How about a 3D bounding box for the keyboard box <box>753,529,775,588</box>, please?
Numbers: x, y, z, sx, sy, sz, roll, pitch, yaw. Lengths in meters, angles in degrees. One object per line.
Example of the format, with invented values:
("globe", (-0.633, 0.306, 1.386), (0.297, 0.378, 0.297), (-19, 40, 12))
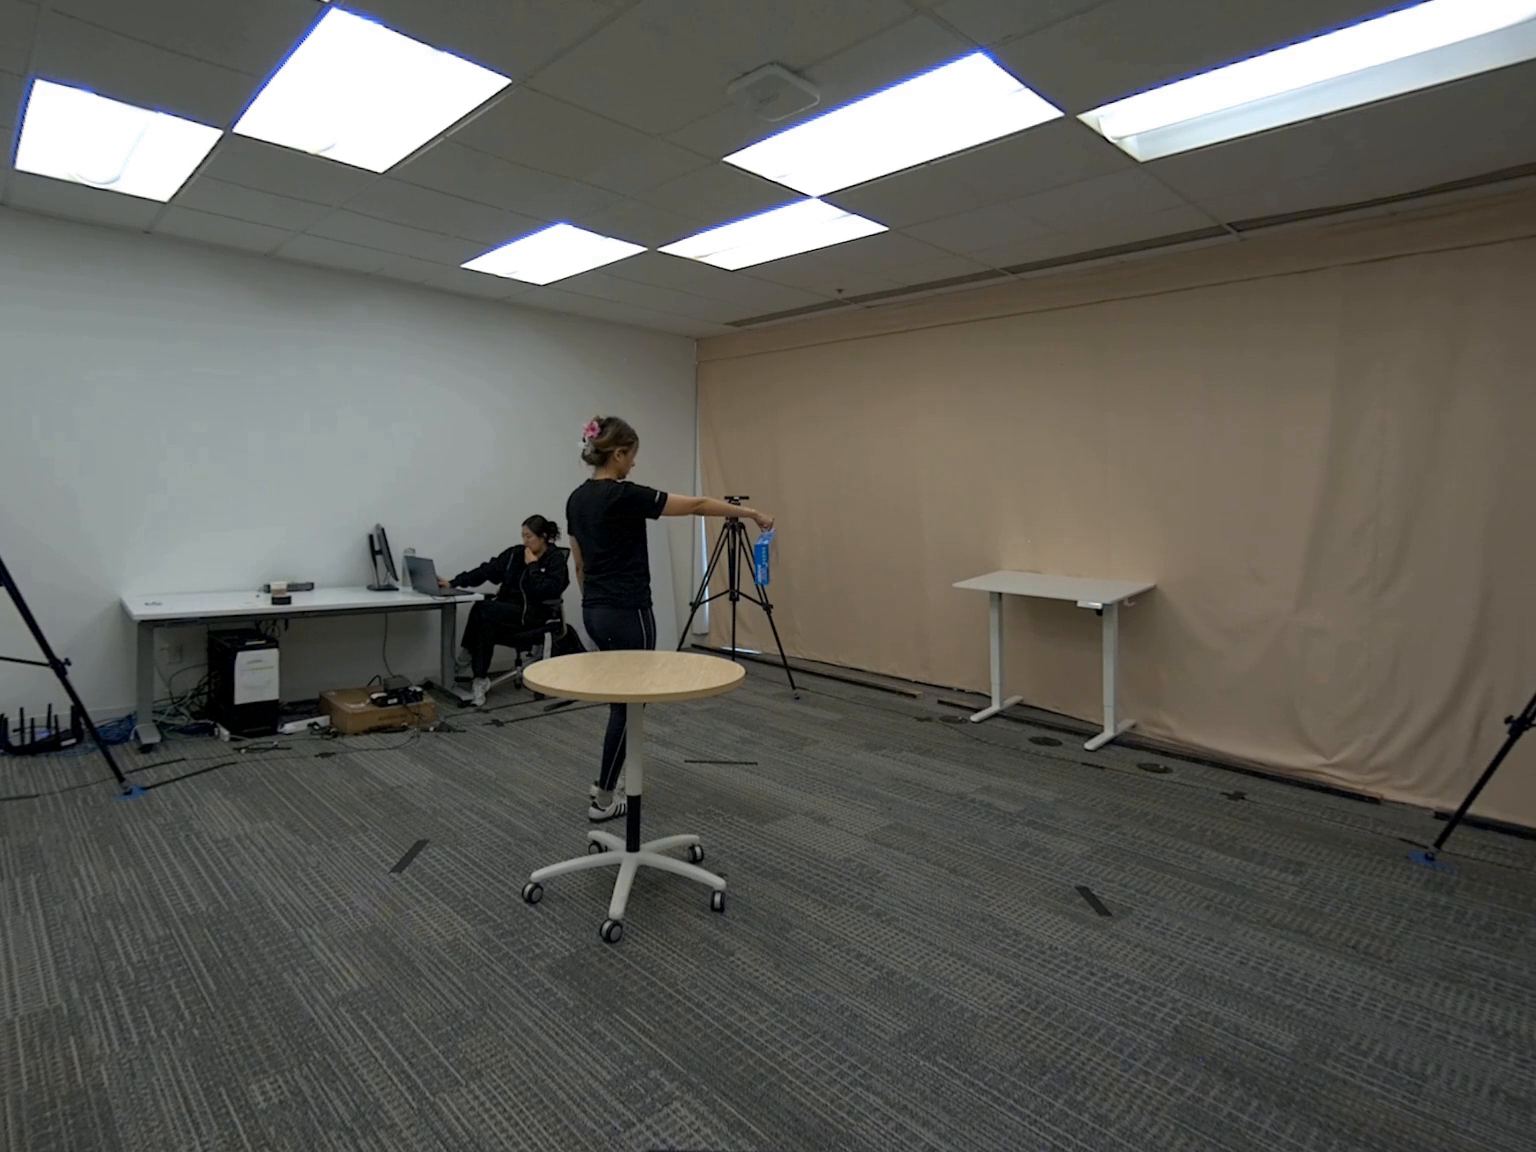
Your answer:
("keyboard box", (-0.020, -0.093, 3.676), (0.059, 0.174, 0.437), (-1, 12, 7))
